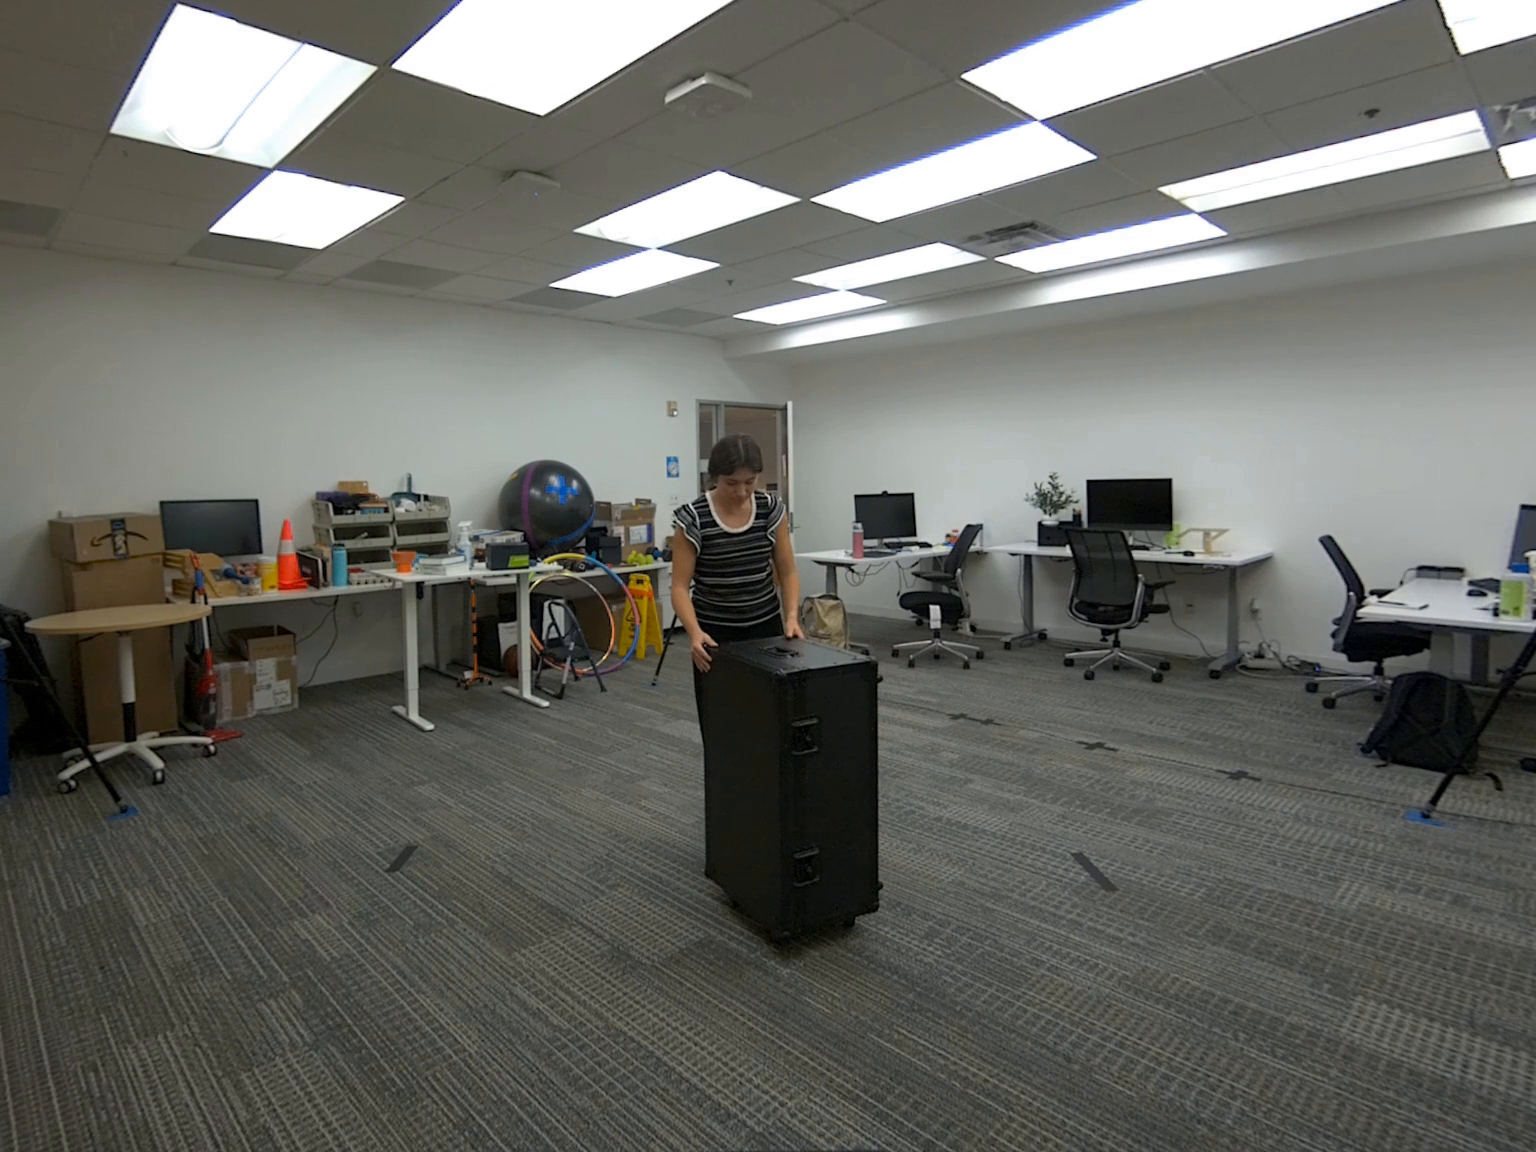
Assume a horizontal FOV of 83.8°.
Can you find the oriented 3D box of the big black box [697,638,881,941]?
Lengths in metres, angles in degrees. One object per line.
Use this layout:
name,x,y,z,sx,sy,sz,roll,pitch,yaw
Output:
big black box,0.073,0.665,2.716,0.387,0.859,0.535,-2,4,-30
